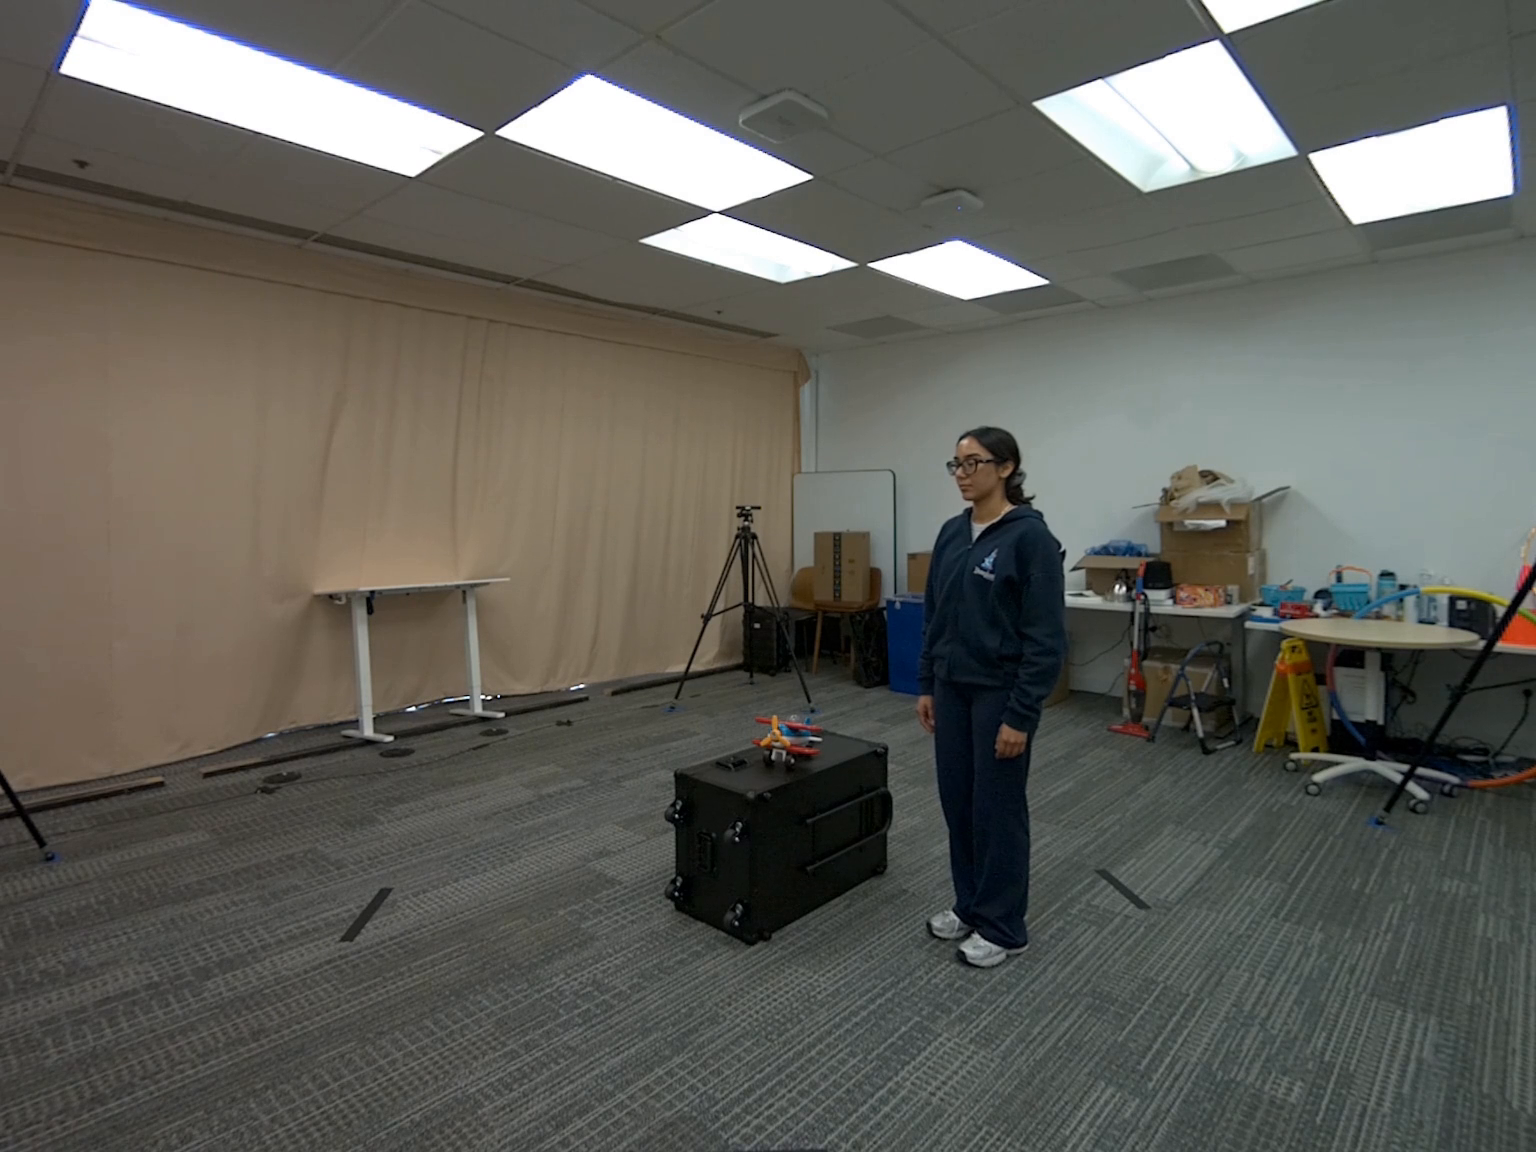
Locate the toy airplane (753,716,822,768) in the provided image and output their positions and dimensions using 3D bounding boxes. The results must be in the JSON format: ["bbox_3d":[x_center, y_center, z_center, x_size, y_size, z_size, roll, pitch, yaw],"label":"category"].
[{"bbox_3d":[0.086,0.577,3.018,0.253,0.156,0.258,-1,5,6],"label":"toy airplane"}]
